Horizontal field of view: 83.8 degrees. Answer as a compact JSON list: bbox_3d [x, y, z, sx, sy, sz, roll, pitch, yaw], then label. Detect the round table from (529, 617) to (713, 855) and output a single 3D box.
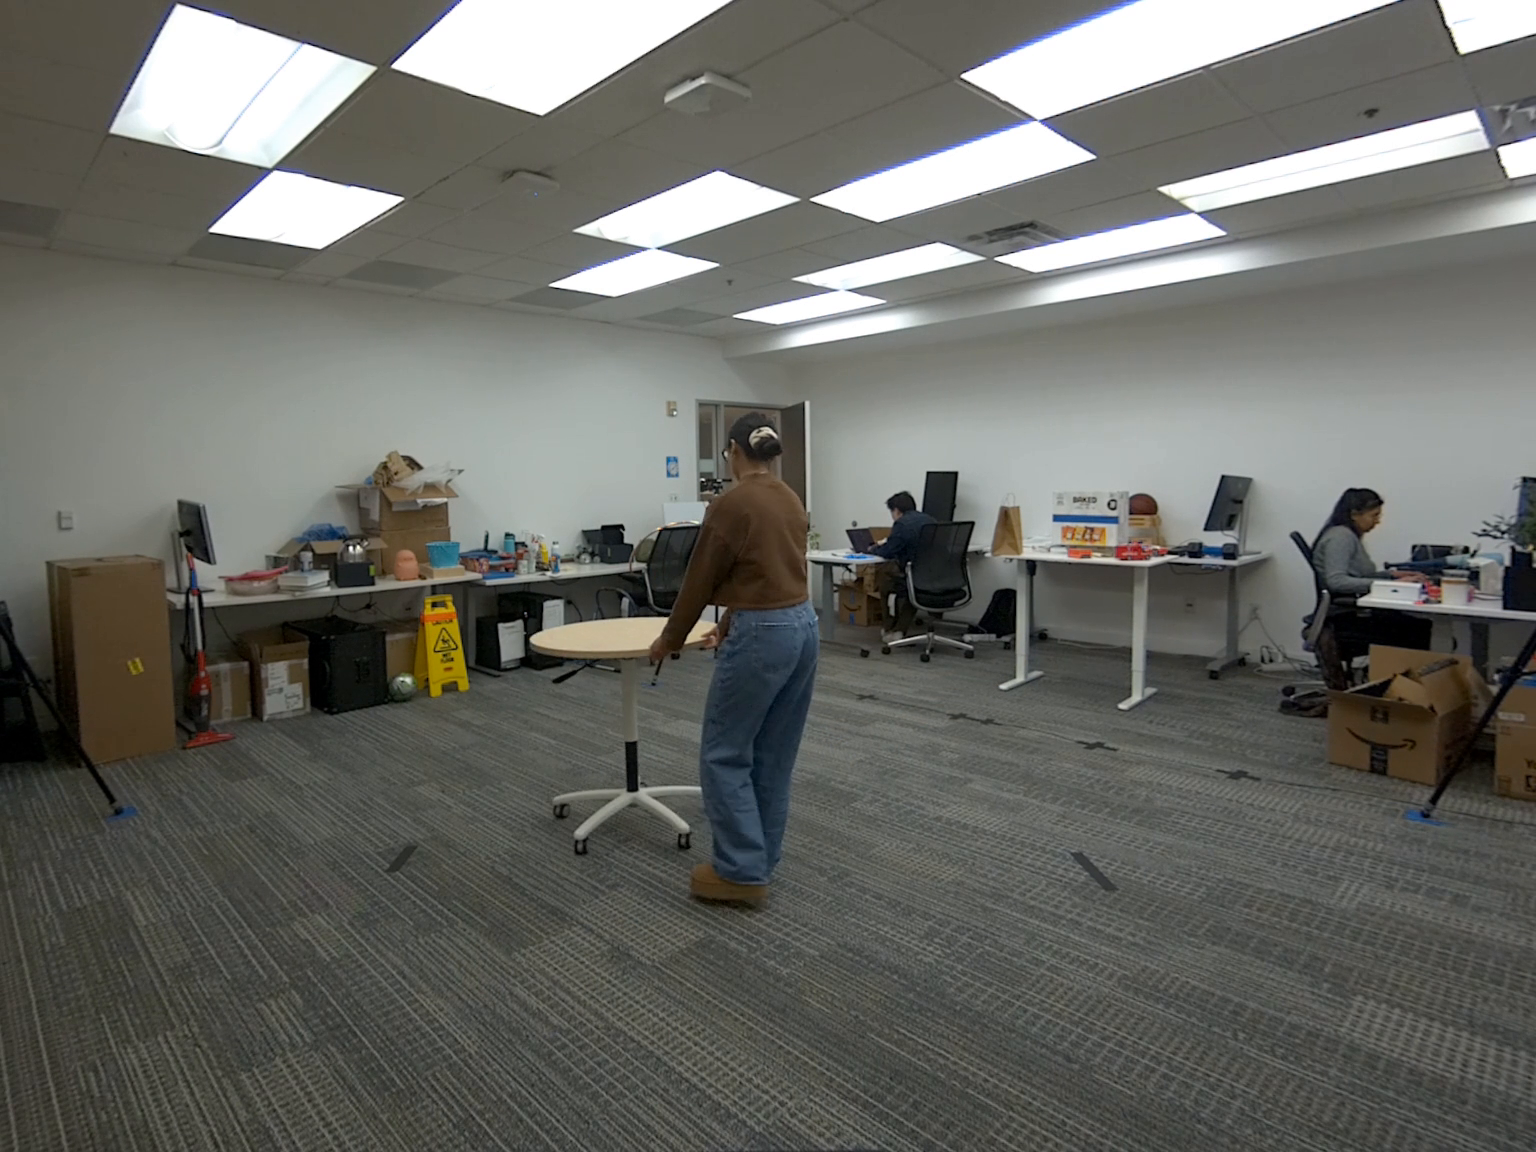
[{"bbox_3d":[-0.529,0.618,3.455,0.785,0.783,0.789,-3,5,-1],"label":"round table"}]
